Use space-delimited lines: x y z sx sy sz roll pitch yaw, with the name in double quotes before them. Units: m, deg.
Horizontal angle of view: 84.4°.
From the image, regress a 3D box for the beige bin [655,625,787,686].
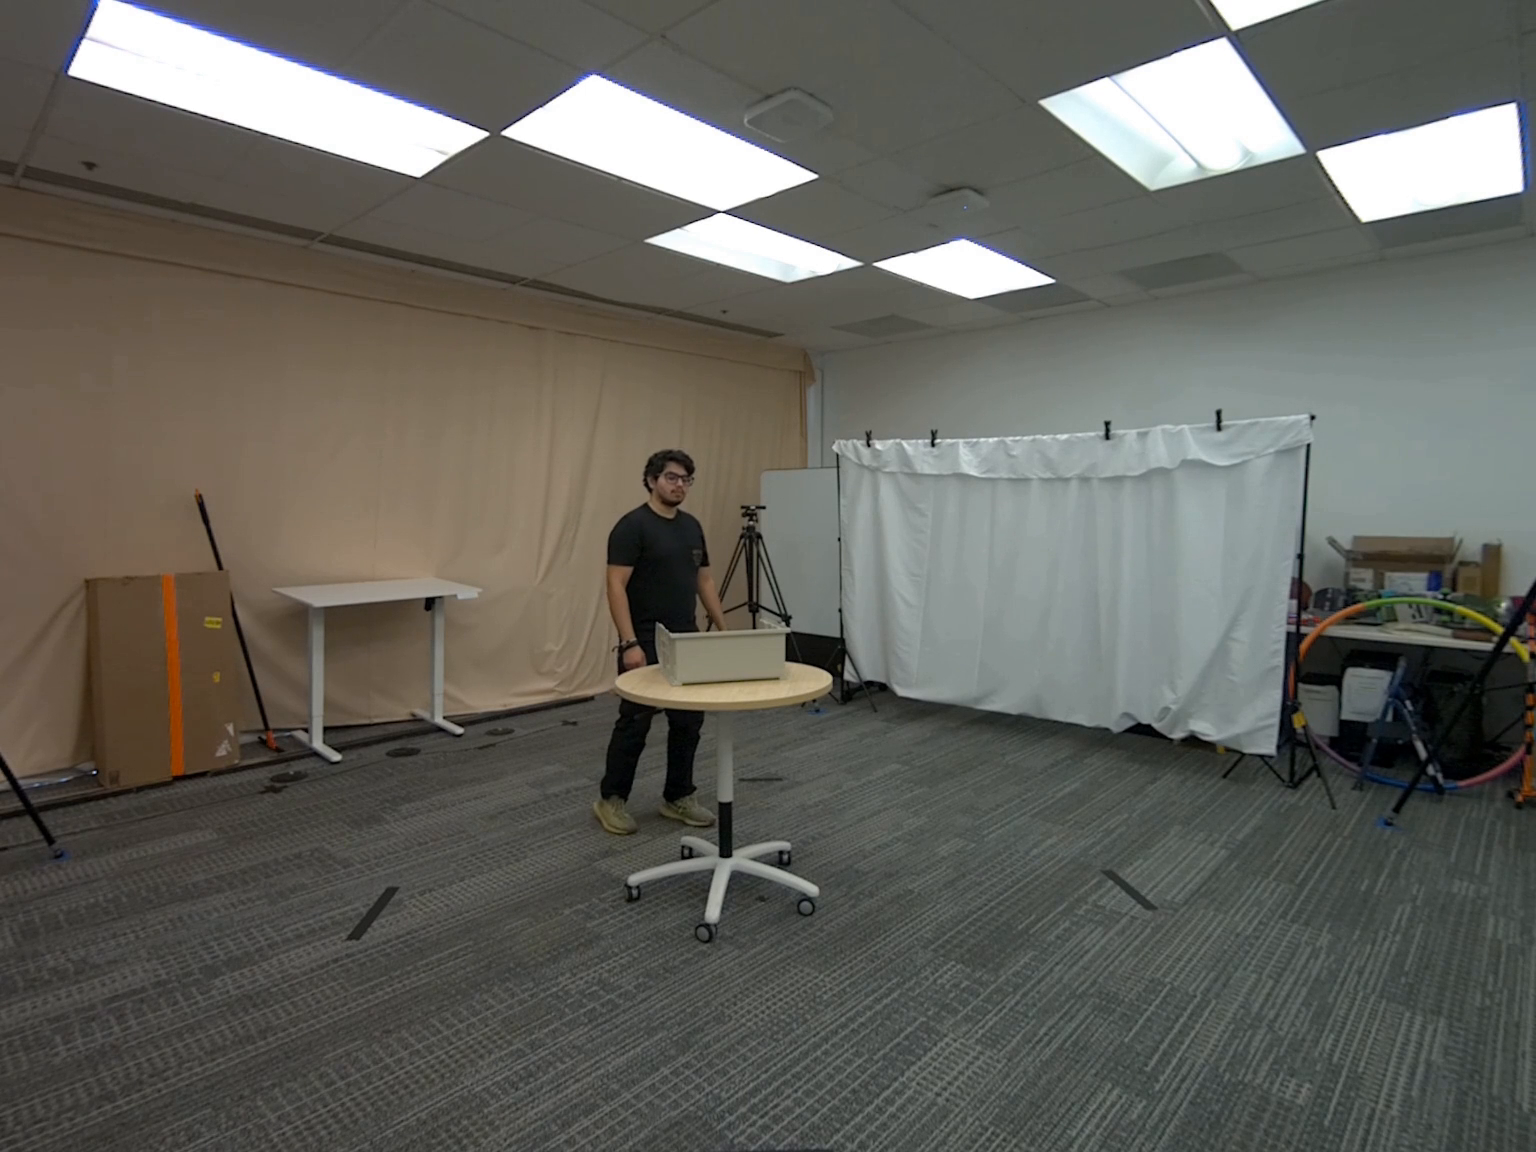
"beige bin" -0.170 0.269 3.047 0.416 0.188 0.384 -1 5 -15
